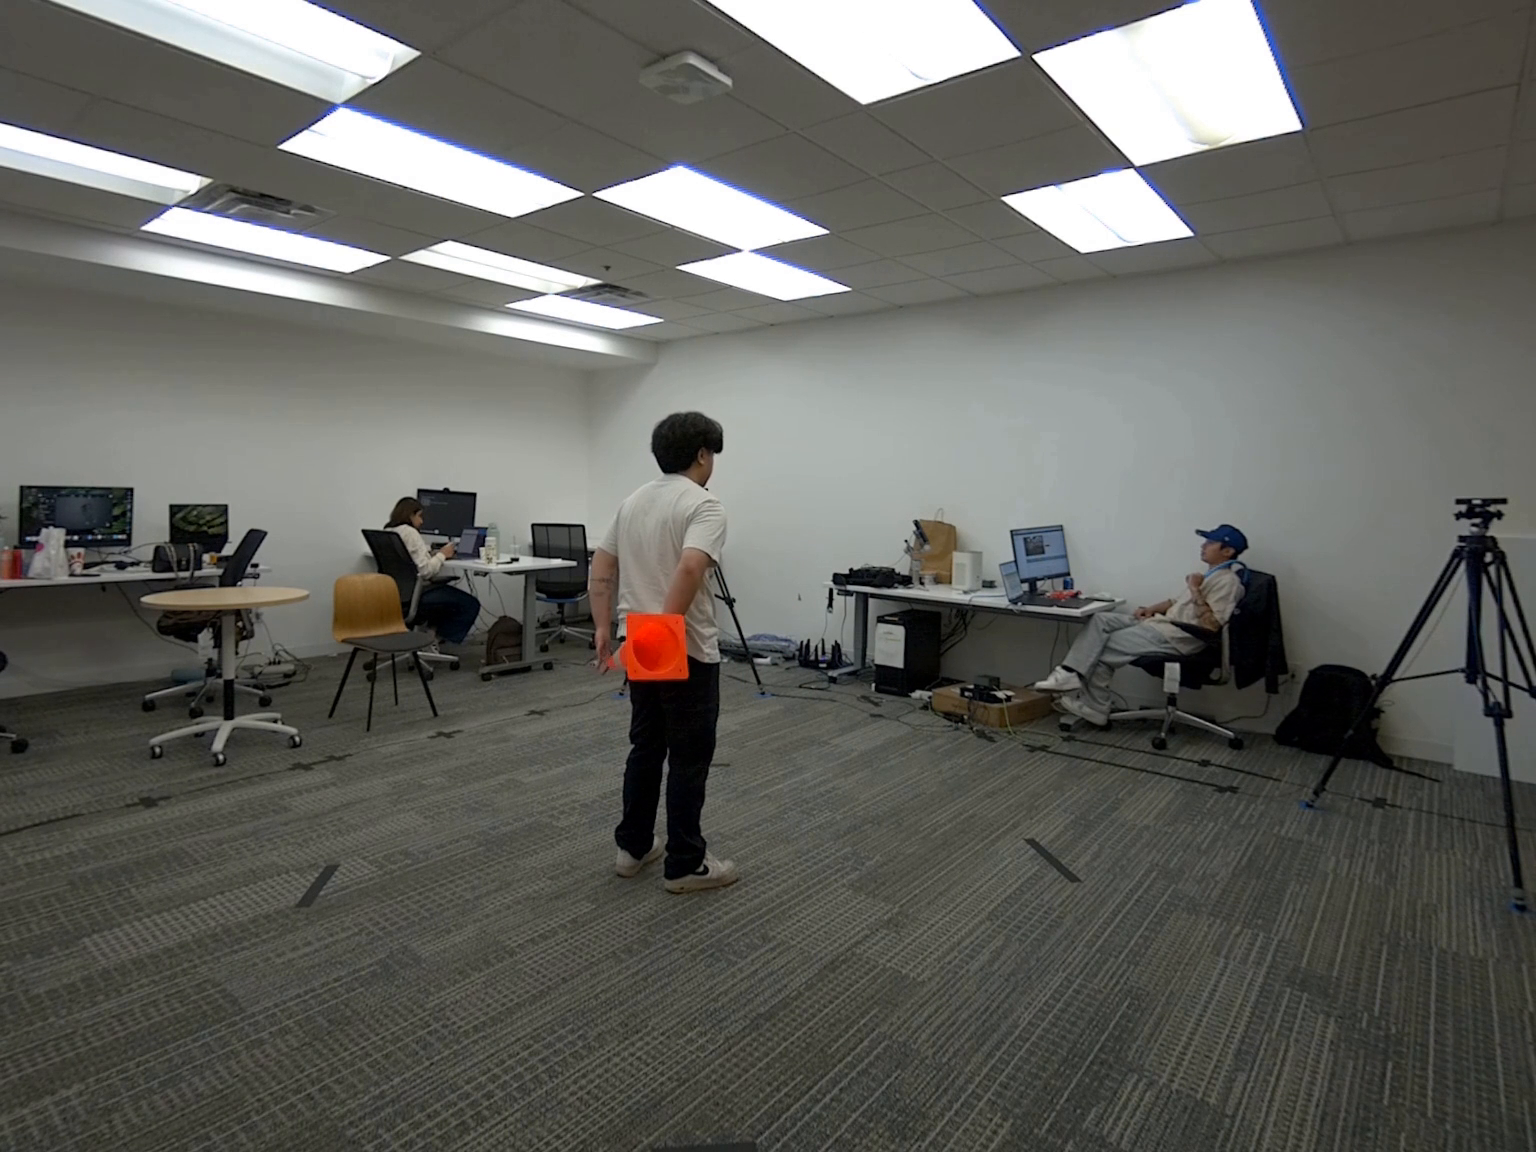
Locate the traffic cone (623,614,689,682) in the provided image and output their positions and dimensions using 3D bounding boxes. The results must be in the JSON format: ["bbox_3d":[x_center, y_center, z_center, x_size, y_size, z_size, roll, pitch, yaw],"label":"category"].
[{"bbox_3d":[-0.441,0.253,2.715,0.199,0.206,0.388,4,-15,-28],"label":"traffic cone"}]
